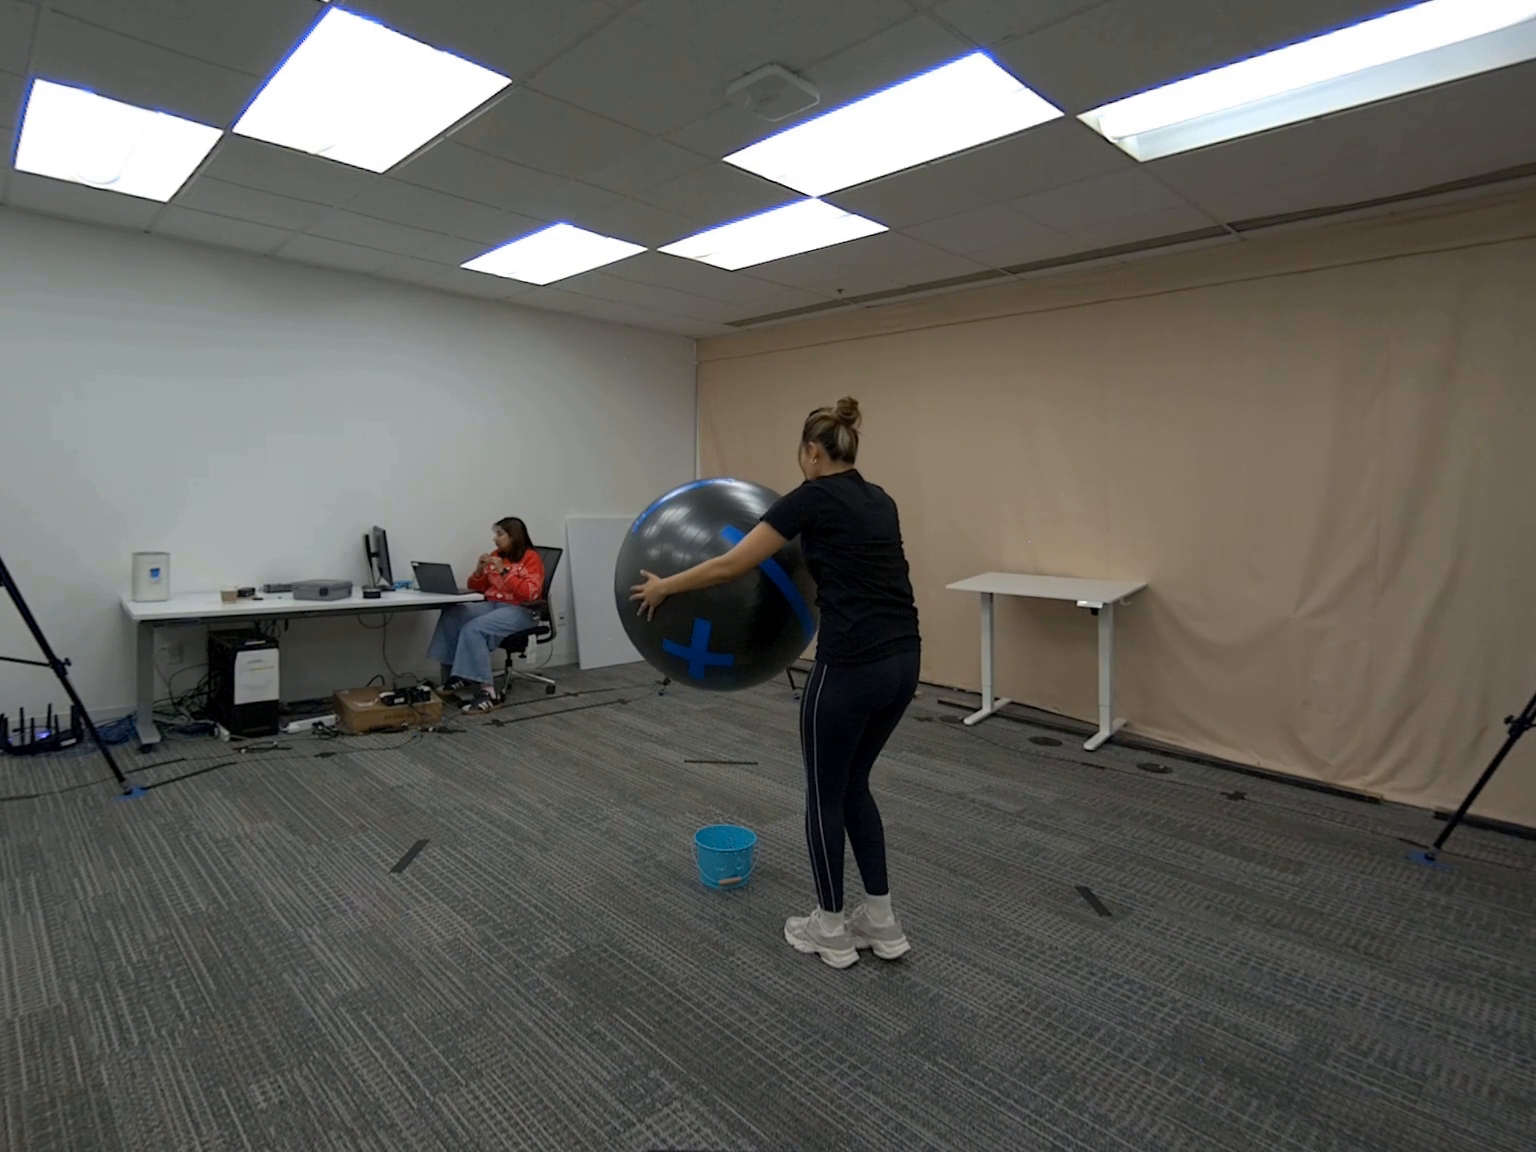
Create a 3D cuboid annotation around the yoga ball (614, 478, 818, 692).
[{"bbox_3d":[-0.169,0.029,3.006,0.757,0.756,0.761,1,4,-1],"label":"yoga ball"}]
